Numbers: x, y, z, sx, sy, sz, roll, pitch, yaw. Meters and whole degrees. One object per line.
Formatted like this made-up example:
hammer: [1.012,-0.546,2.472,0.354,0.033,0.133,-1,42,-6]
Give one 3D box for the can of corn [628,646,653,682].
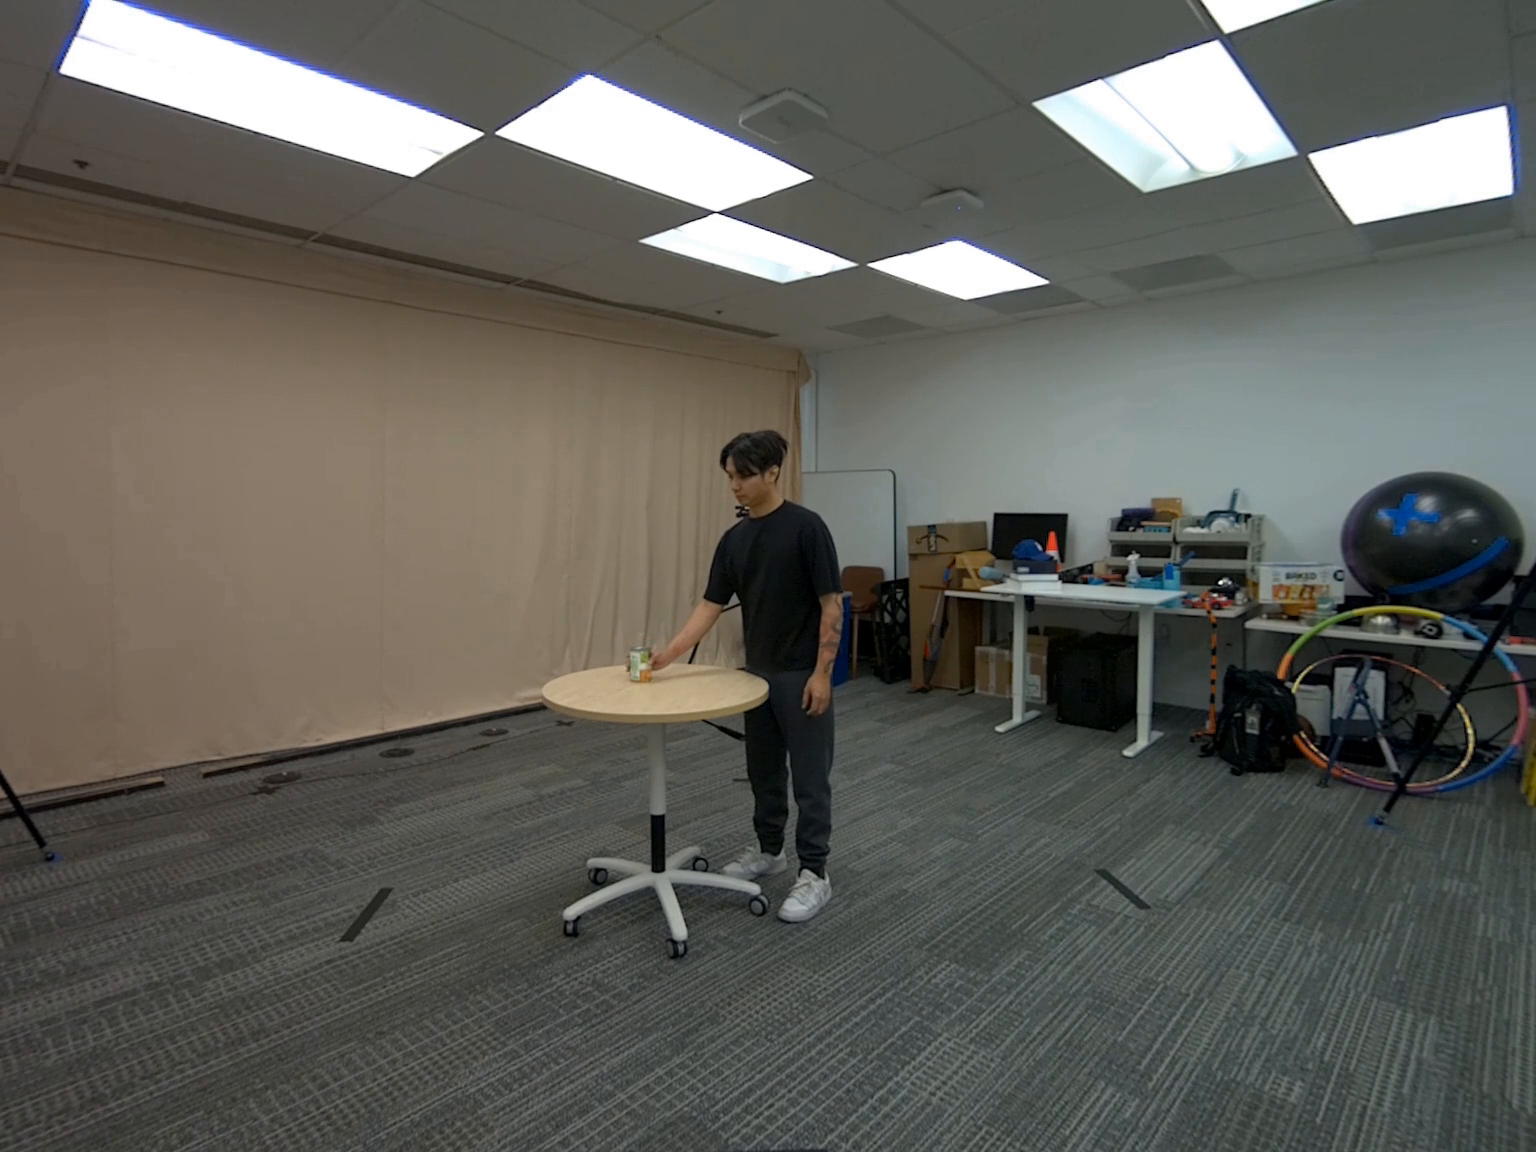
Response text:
can of corn: [-0.445,0.311,2.950,0.074,0.111,0.074,0,1,-2]
